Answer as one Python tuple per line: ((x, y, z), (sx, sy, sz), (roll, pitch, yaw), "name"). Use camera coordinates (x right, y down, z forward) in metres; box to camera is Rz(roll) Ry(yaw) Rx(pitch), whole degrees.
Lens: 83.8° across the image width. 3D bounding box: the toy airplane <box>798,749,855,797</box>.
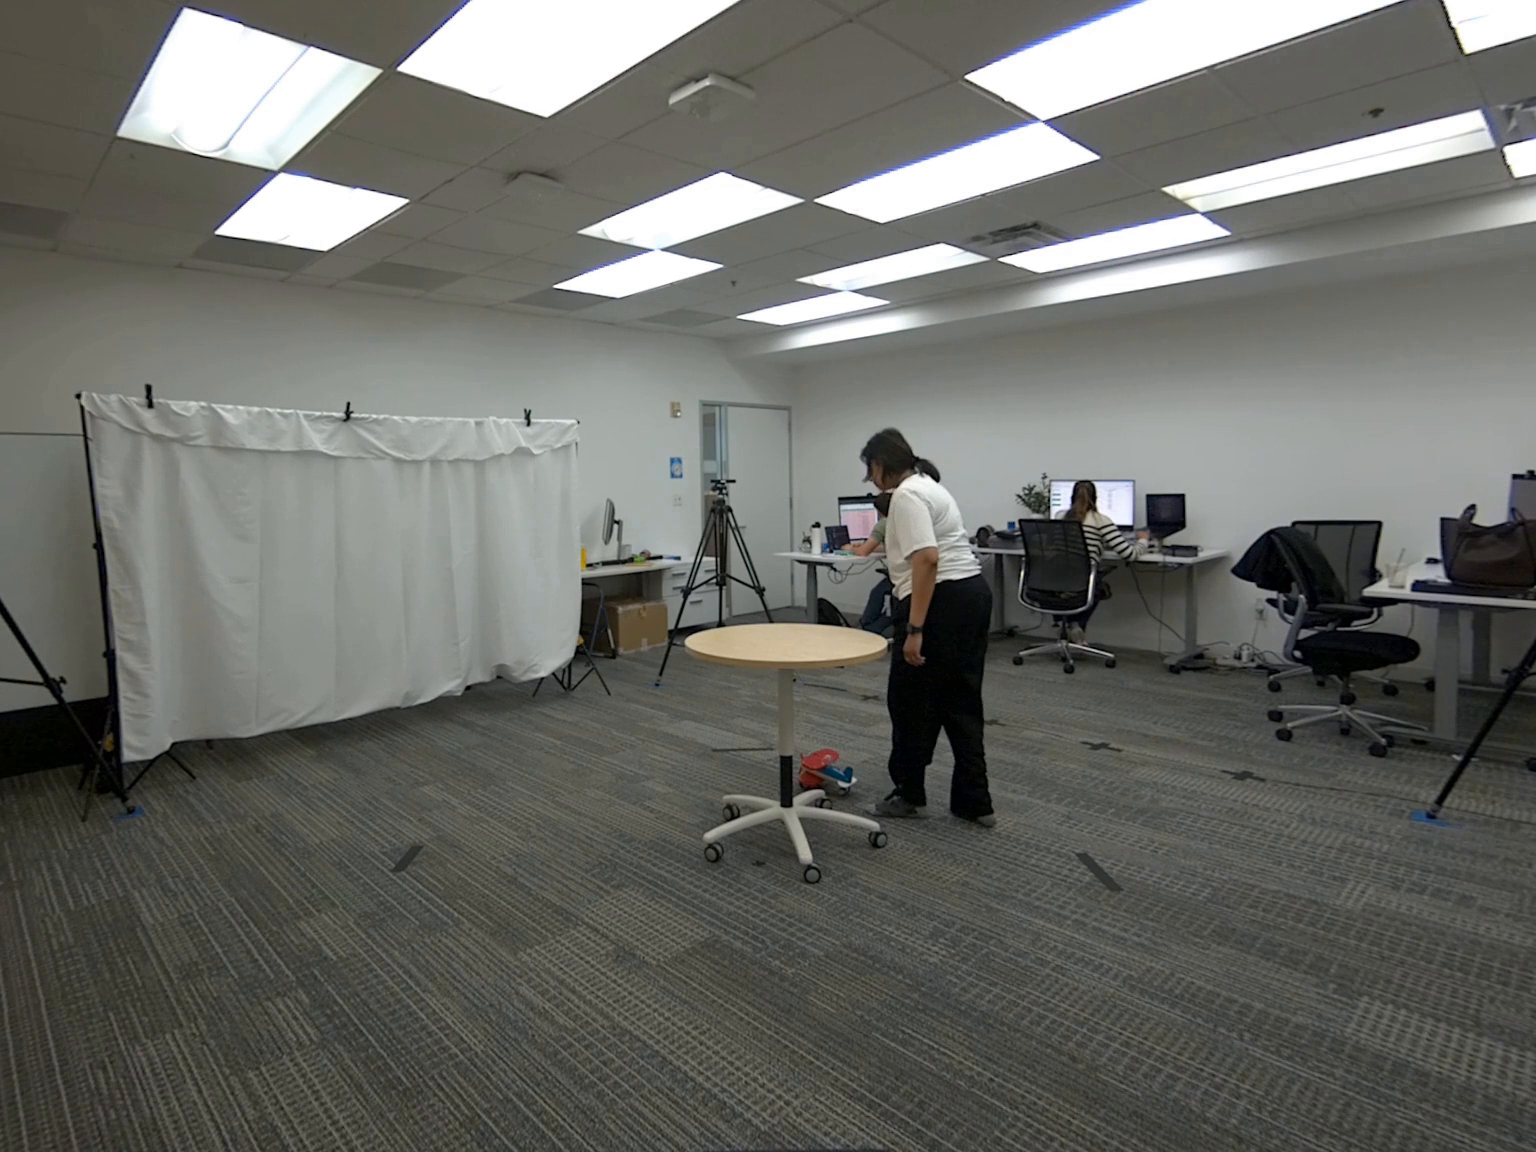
((0.272, 0.882, 3.855), (0.261, 0.156, 0.250), (0, 5, 7), "toy airplane")
